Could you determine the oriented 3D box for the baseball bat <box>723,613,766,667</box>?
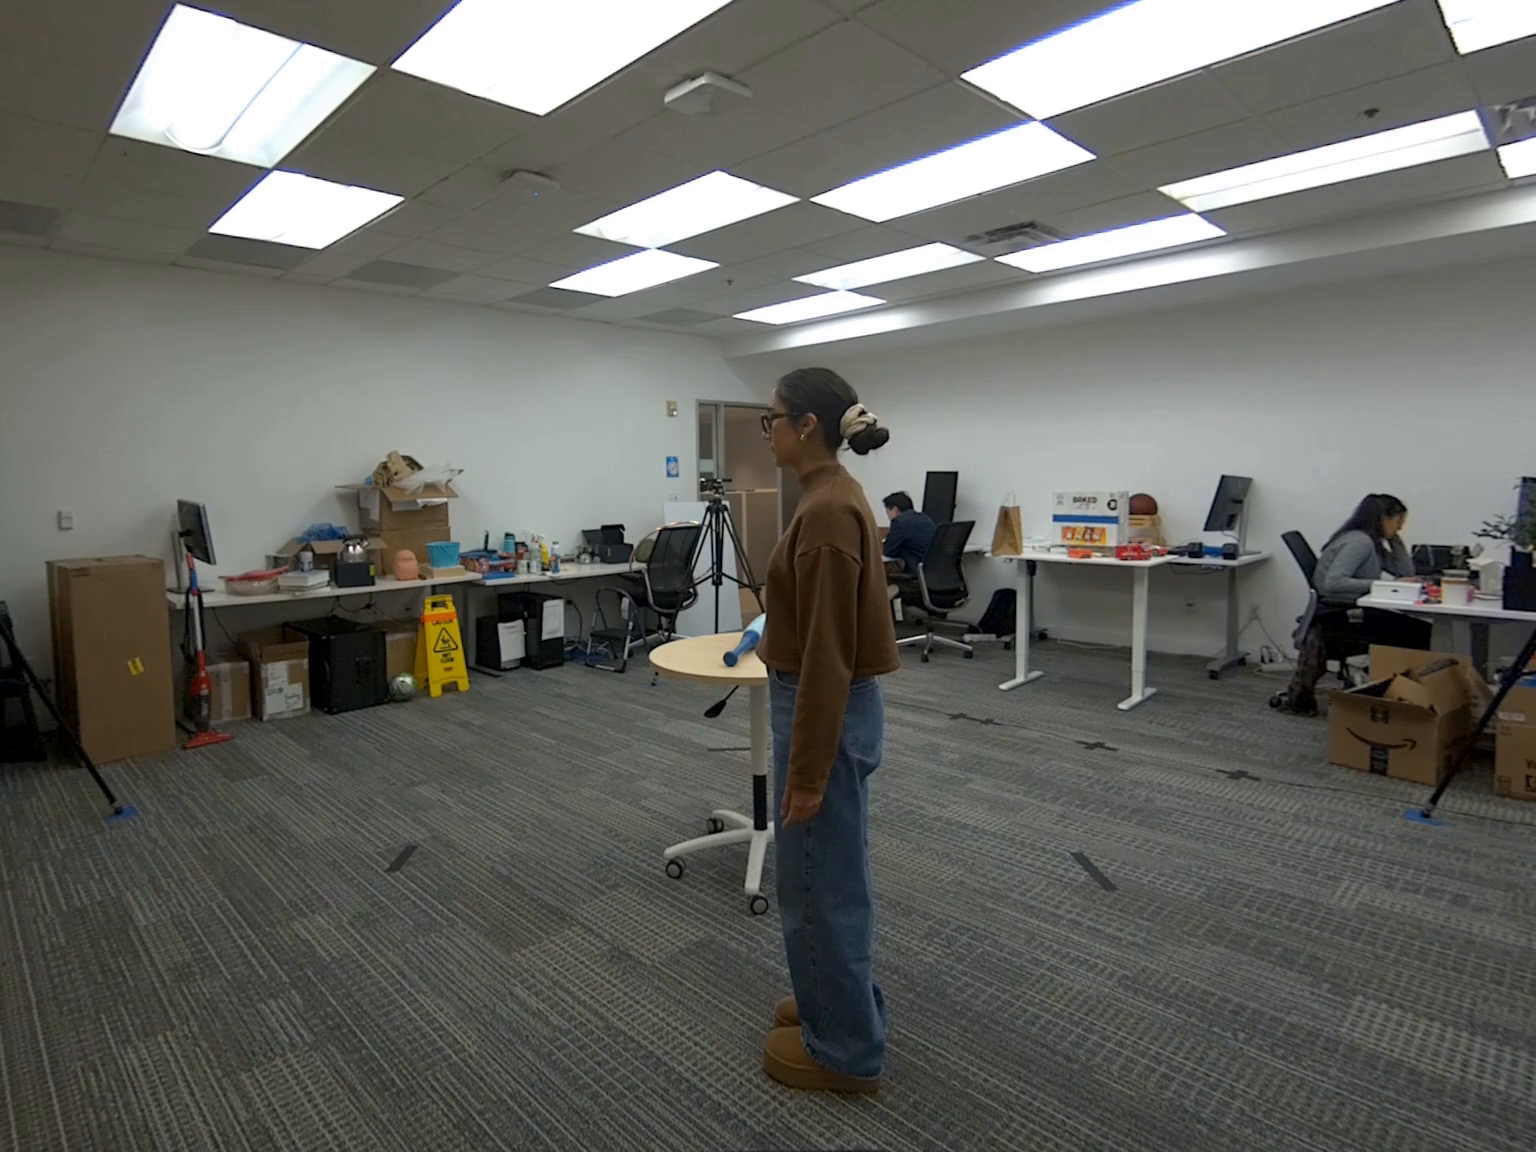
[{"bbox_3d":[-0.061,0.231,3.042,0.090,0.088,0.540,0,10,12],"label":"baseball bat"}]
